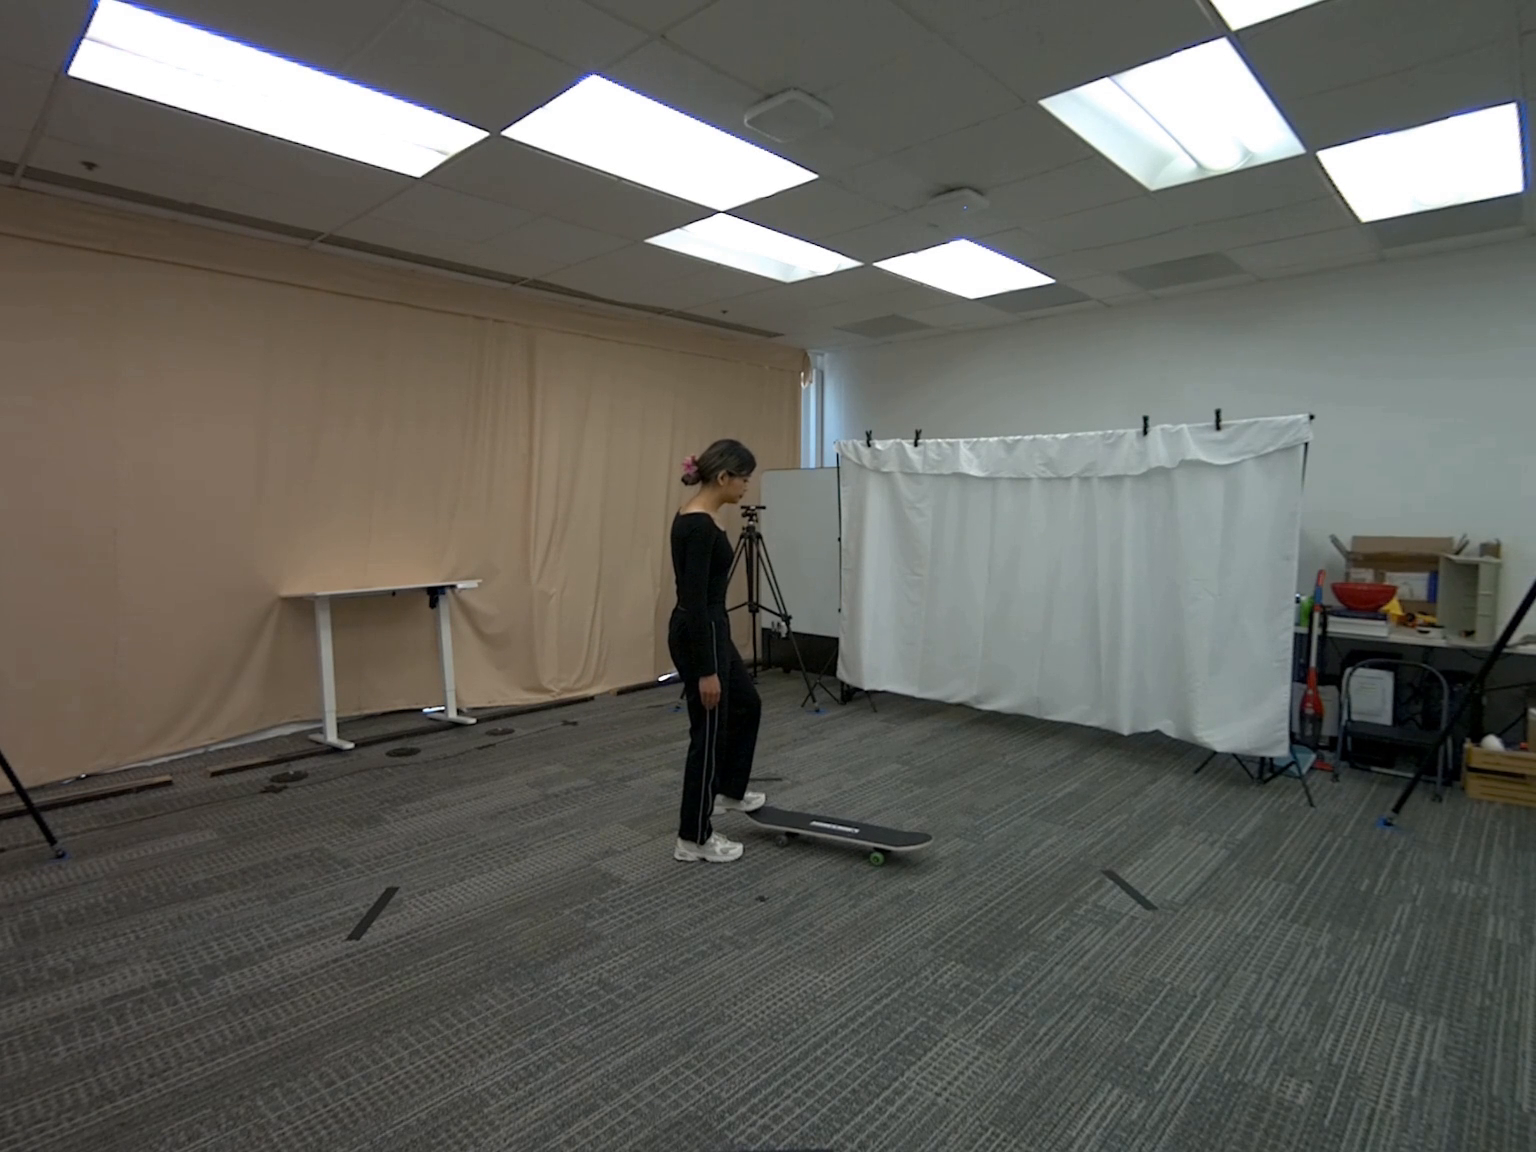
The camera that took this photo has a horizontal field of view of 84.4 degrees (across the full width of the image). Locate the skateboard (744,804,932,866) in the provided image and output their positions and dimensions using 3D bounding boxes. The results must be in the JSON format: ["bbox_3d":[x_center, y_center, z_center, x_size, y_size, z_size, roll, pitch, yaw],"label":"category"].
[{"bbox_3d":[0.274,1.045,3.404,0.806,0.110,0.189,2,5,27],"label":"skateboard"}]
